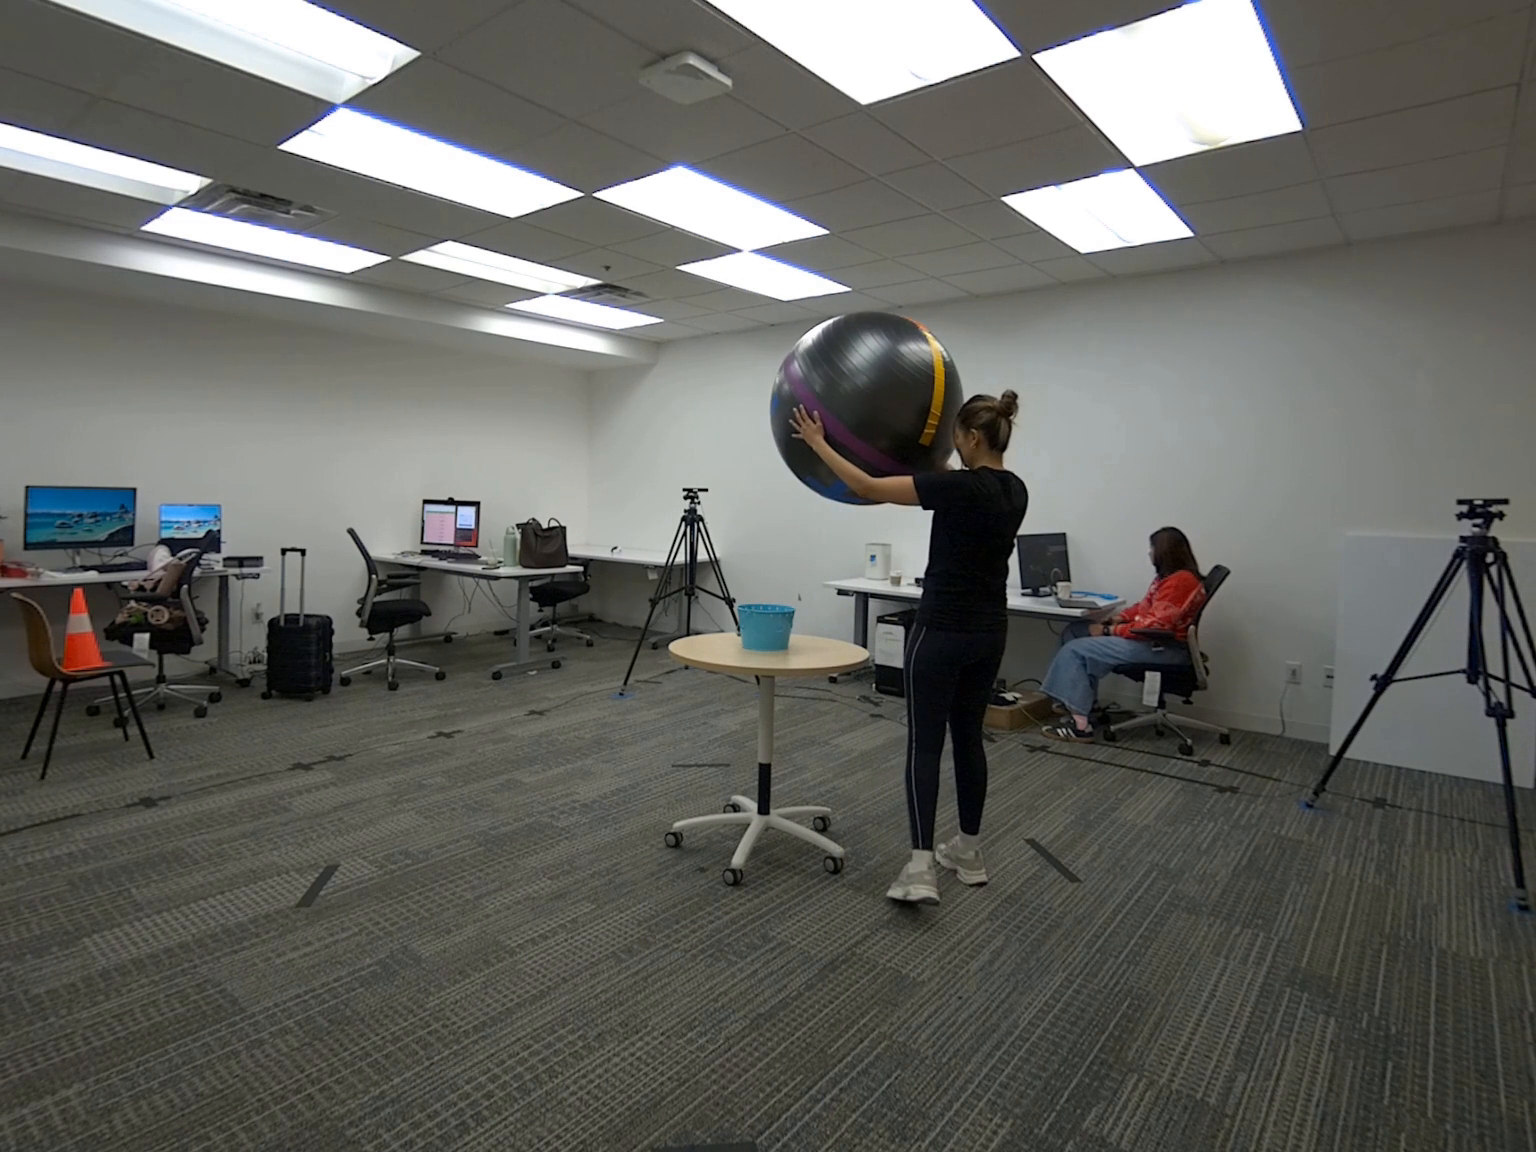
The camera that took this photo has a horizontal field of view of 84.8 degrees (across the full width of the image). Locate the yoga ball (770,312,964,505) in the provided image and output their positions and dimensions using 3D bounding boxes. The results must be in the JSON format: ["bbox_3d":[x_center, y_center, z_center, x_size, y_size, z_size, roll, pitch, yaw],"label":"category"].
[{"bbox_3d":[0.385,-0.656,3.368,0.757,0.756,0.762,1,4,-2],"label":"yoga ball"}]
